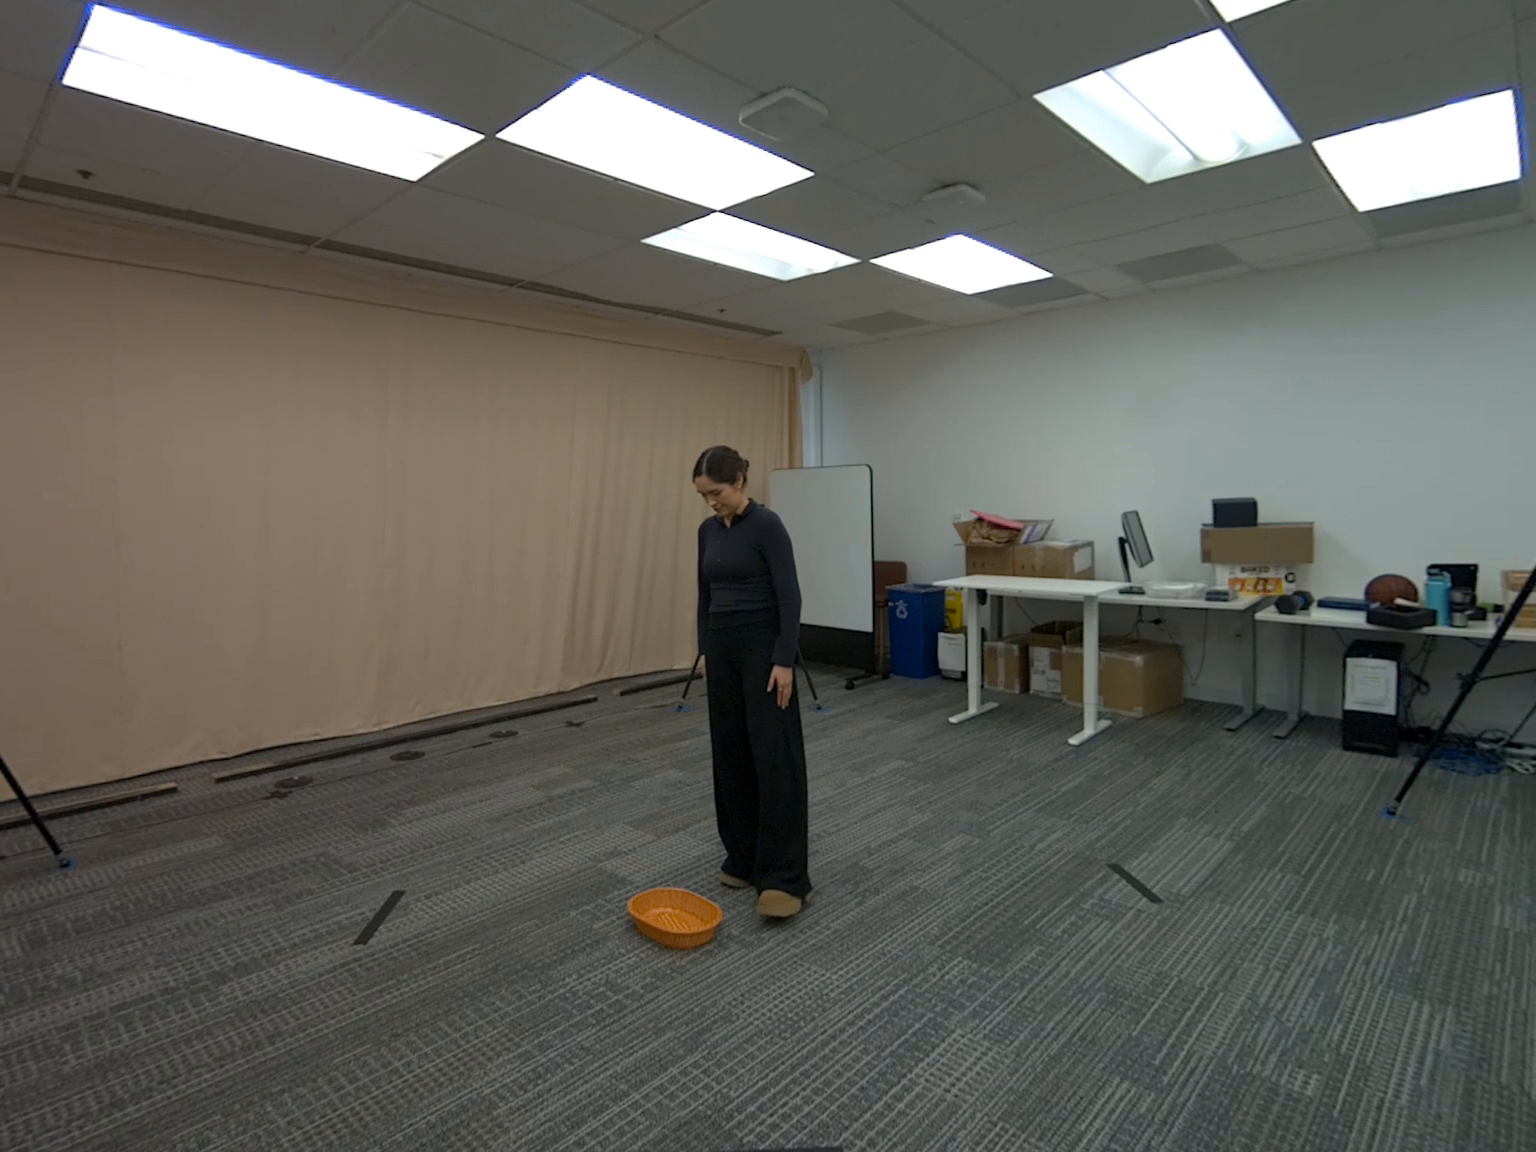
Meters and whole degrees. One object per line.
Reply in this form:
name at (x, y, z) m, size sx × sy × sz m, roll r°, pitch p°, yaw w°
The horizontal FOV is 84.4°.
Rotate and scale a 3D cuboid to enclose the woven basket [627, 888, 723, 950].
woven basket at (-0.306, 1.124, 2.769) m, size 0.245 × 0.073 × 0.362 m, roll -5°, pitch 6°, yaw -43°
